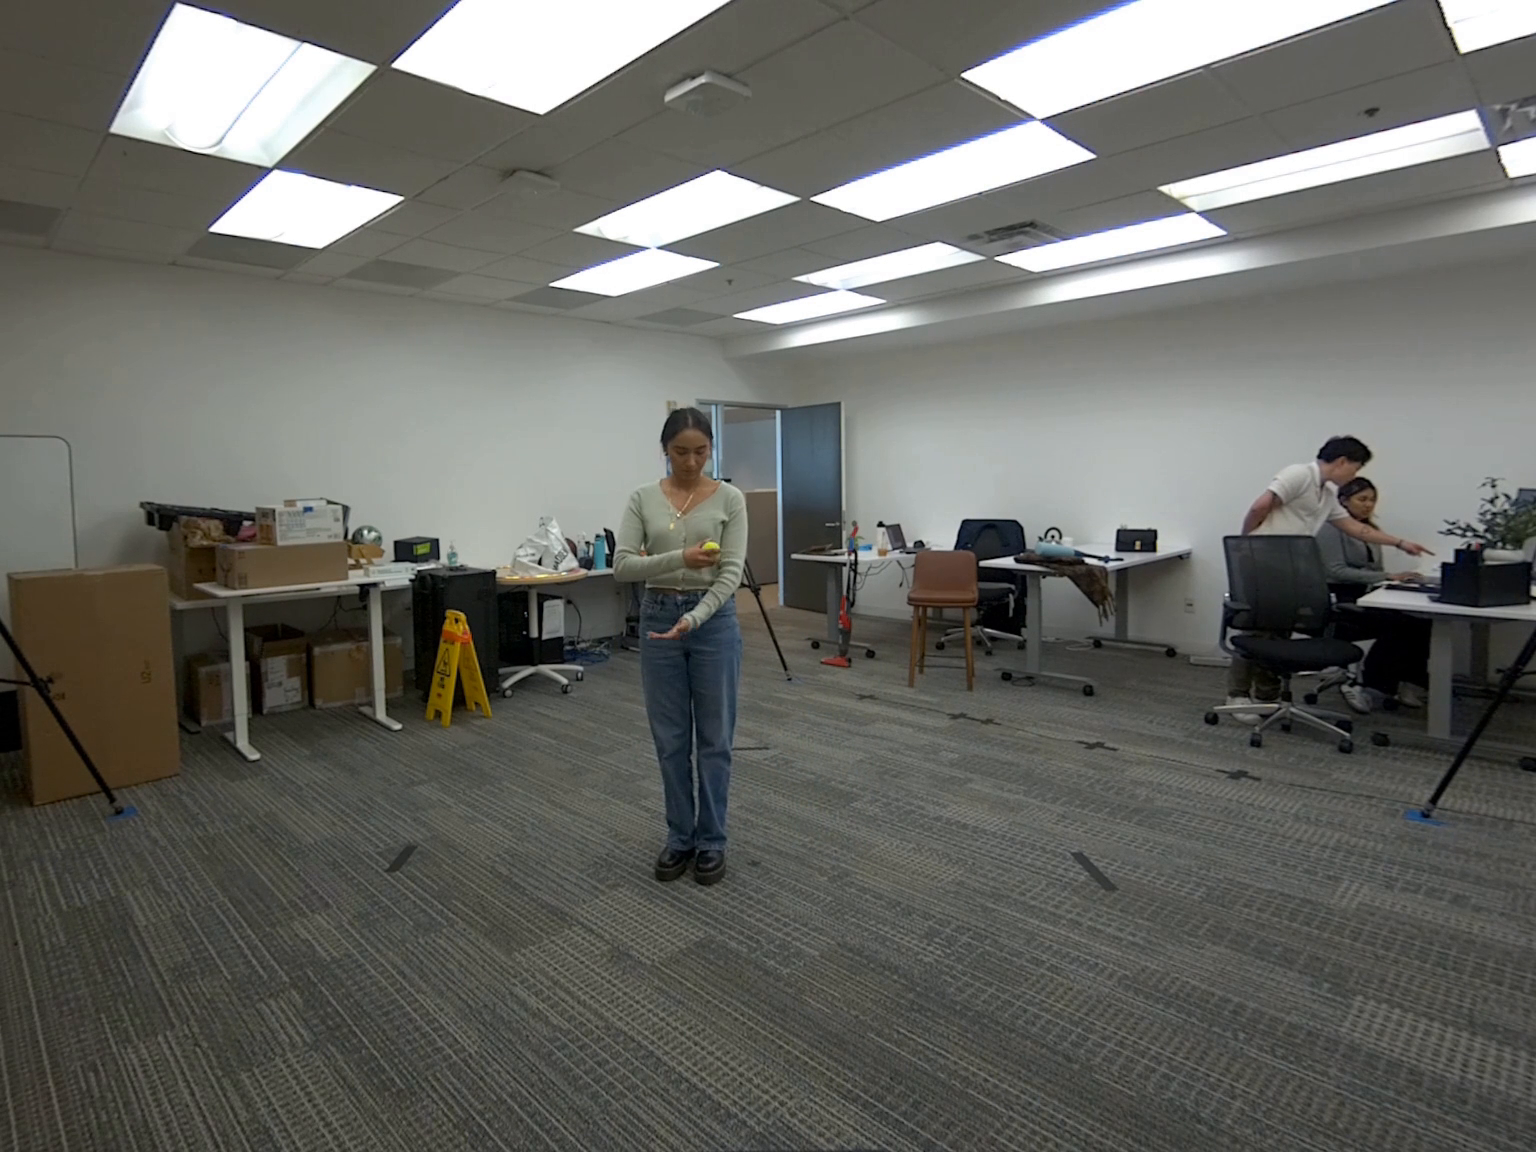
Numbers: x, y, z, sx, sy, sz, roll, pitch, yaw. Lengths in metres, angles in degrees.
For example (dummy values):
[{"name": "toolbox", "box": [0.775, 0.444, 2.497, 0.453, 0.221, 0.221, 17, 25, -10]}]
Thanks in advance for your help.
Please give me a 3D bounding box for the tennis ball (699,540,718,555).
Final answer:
[{"name": "tennis ball", "box": [-0.228, -0.061, 2.837, 0.066, 0.066, 0.067, -1, 5, -2]}]
